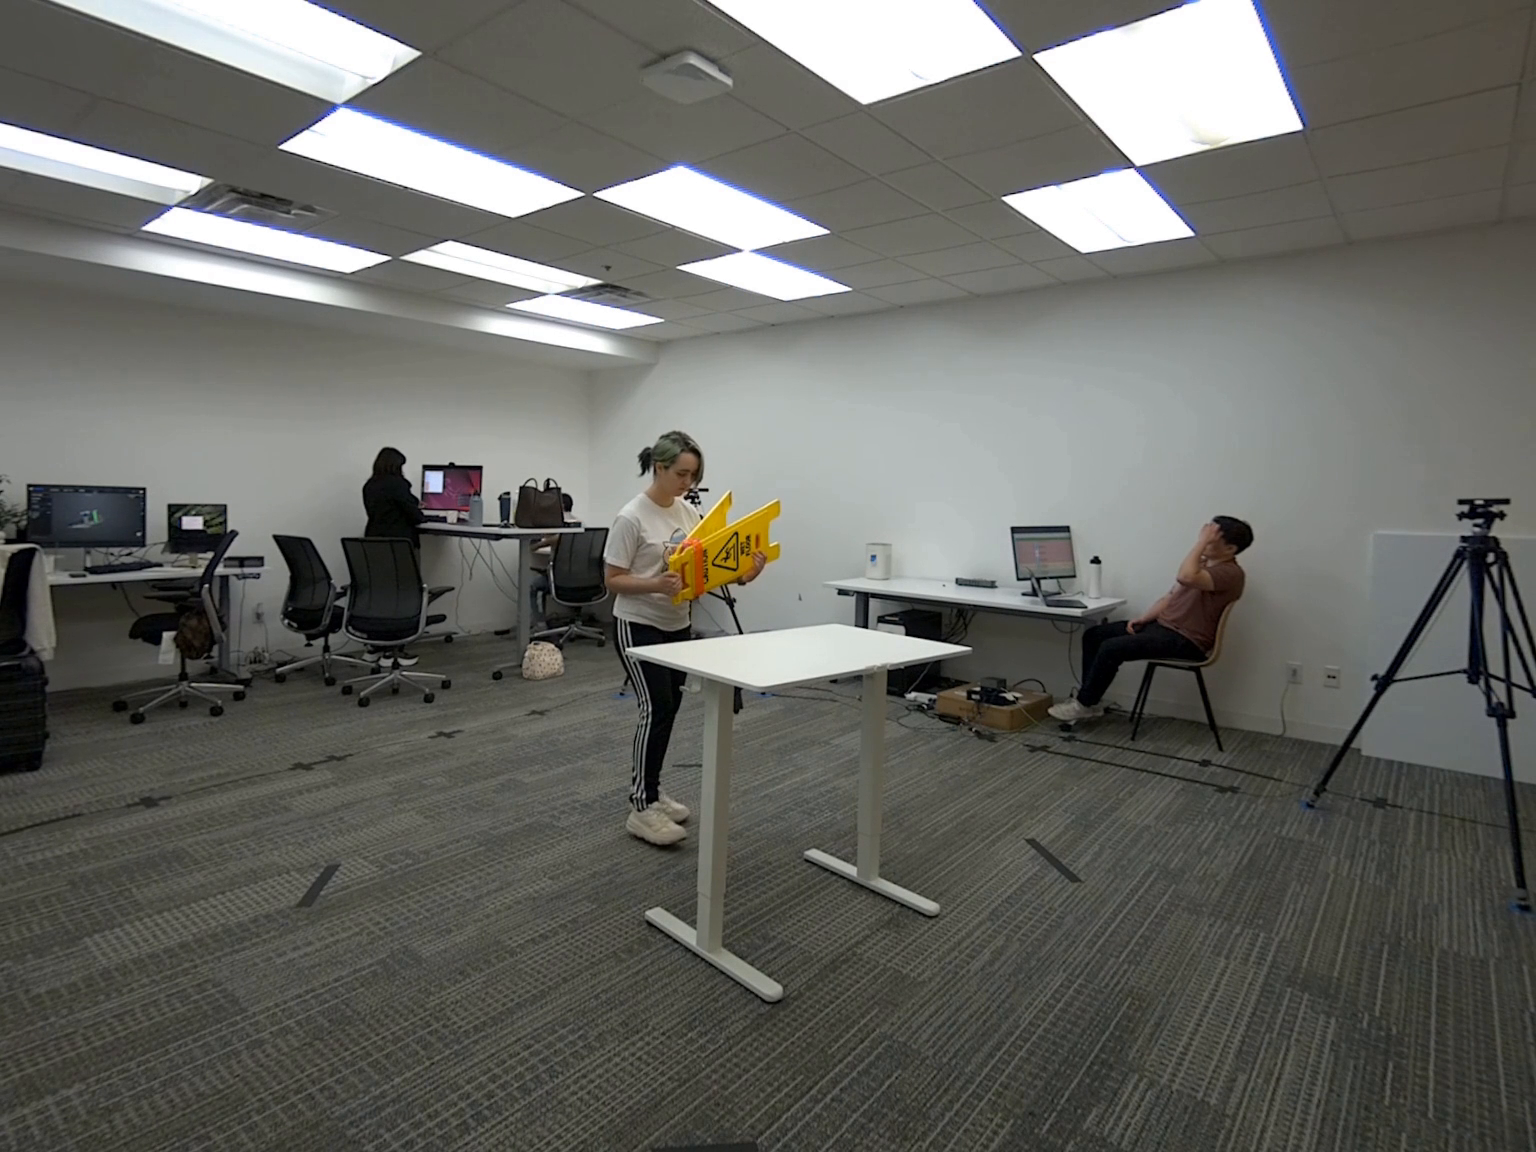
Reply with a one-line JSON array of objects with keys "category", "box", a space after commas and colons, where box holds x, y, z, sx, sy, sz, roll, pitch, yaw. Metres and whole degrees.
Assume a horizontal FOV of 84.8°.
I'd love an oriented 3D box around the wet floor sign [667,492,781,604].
[{"category": "wet floor sign", "box": [-0.227, -0.100, 3.517, 0.299, 0.275, 0.641, 11, 30, 29]}]
